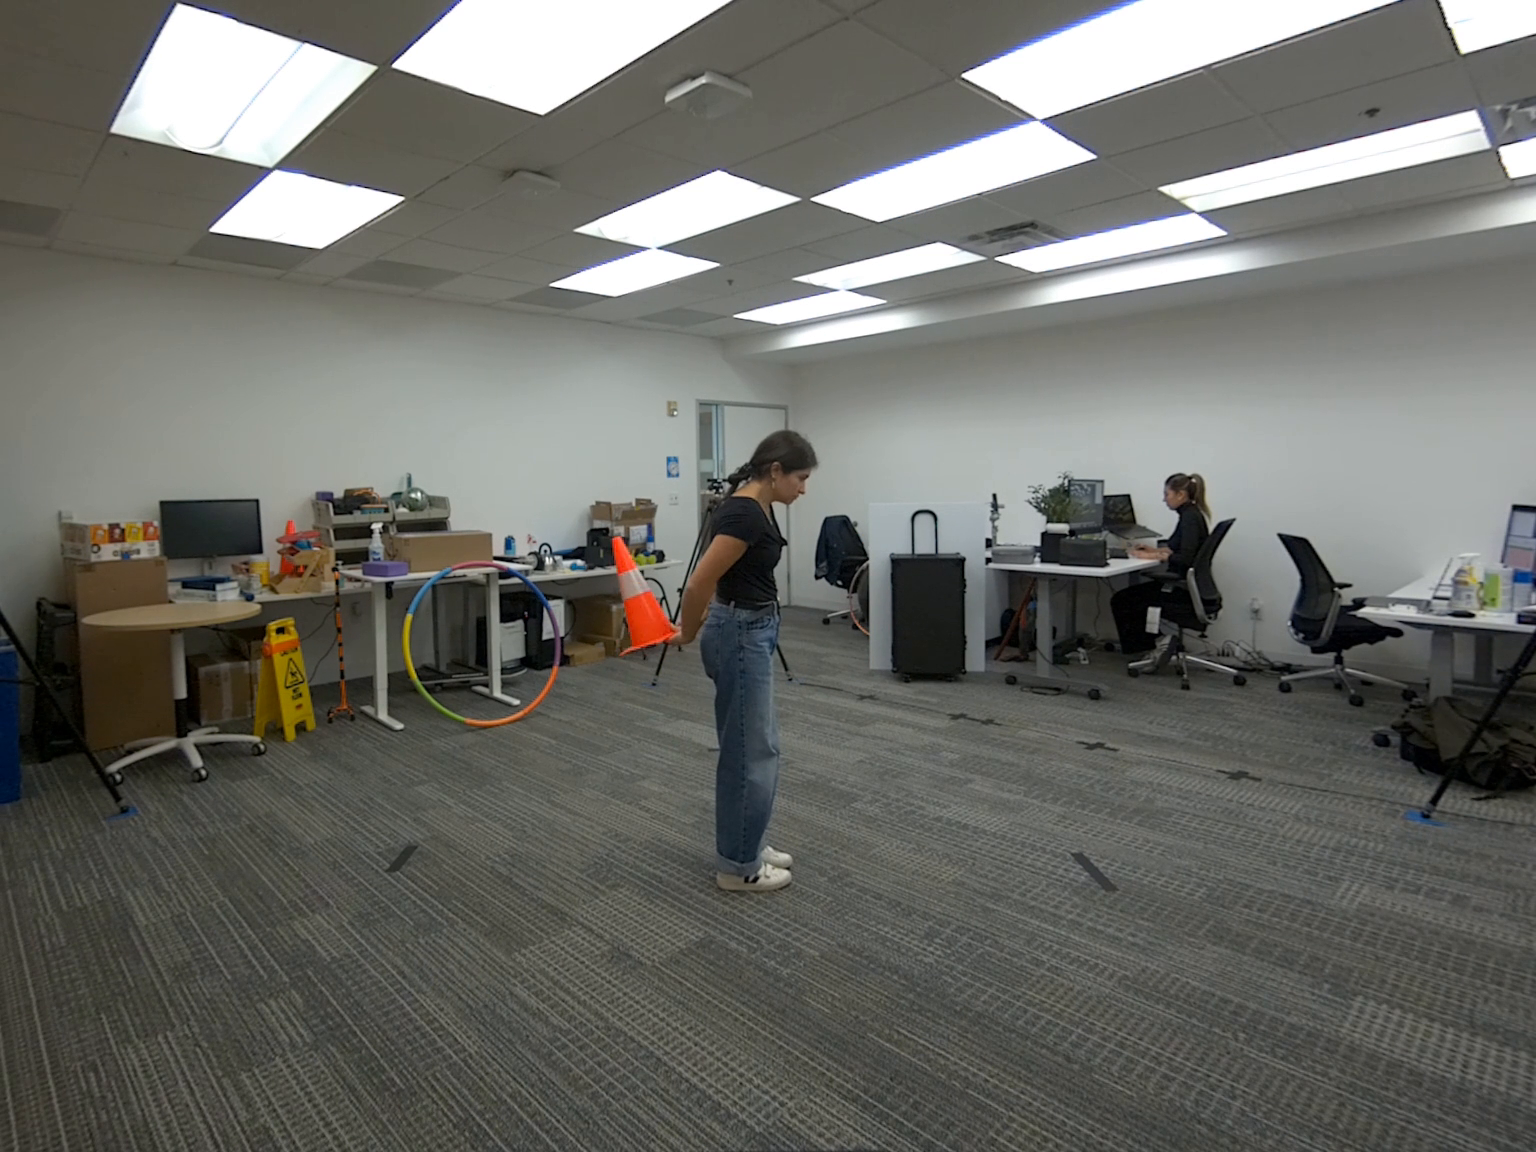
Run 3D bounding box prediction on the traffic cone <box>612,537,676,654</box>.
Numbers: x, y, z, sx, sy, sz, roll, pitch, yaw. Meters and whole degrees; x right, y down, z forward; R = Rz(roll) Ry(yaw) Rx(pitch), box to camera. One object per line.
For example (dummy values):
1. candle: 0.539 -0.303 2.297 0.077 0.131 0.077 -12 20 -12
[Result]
1. traffic cone: -0.447 0.064 2.981 0.206 0.383 0.202 -20 1 13
